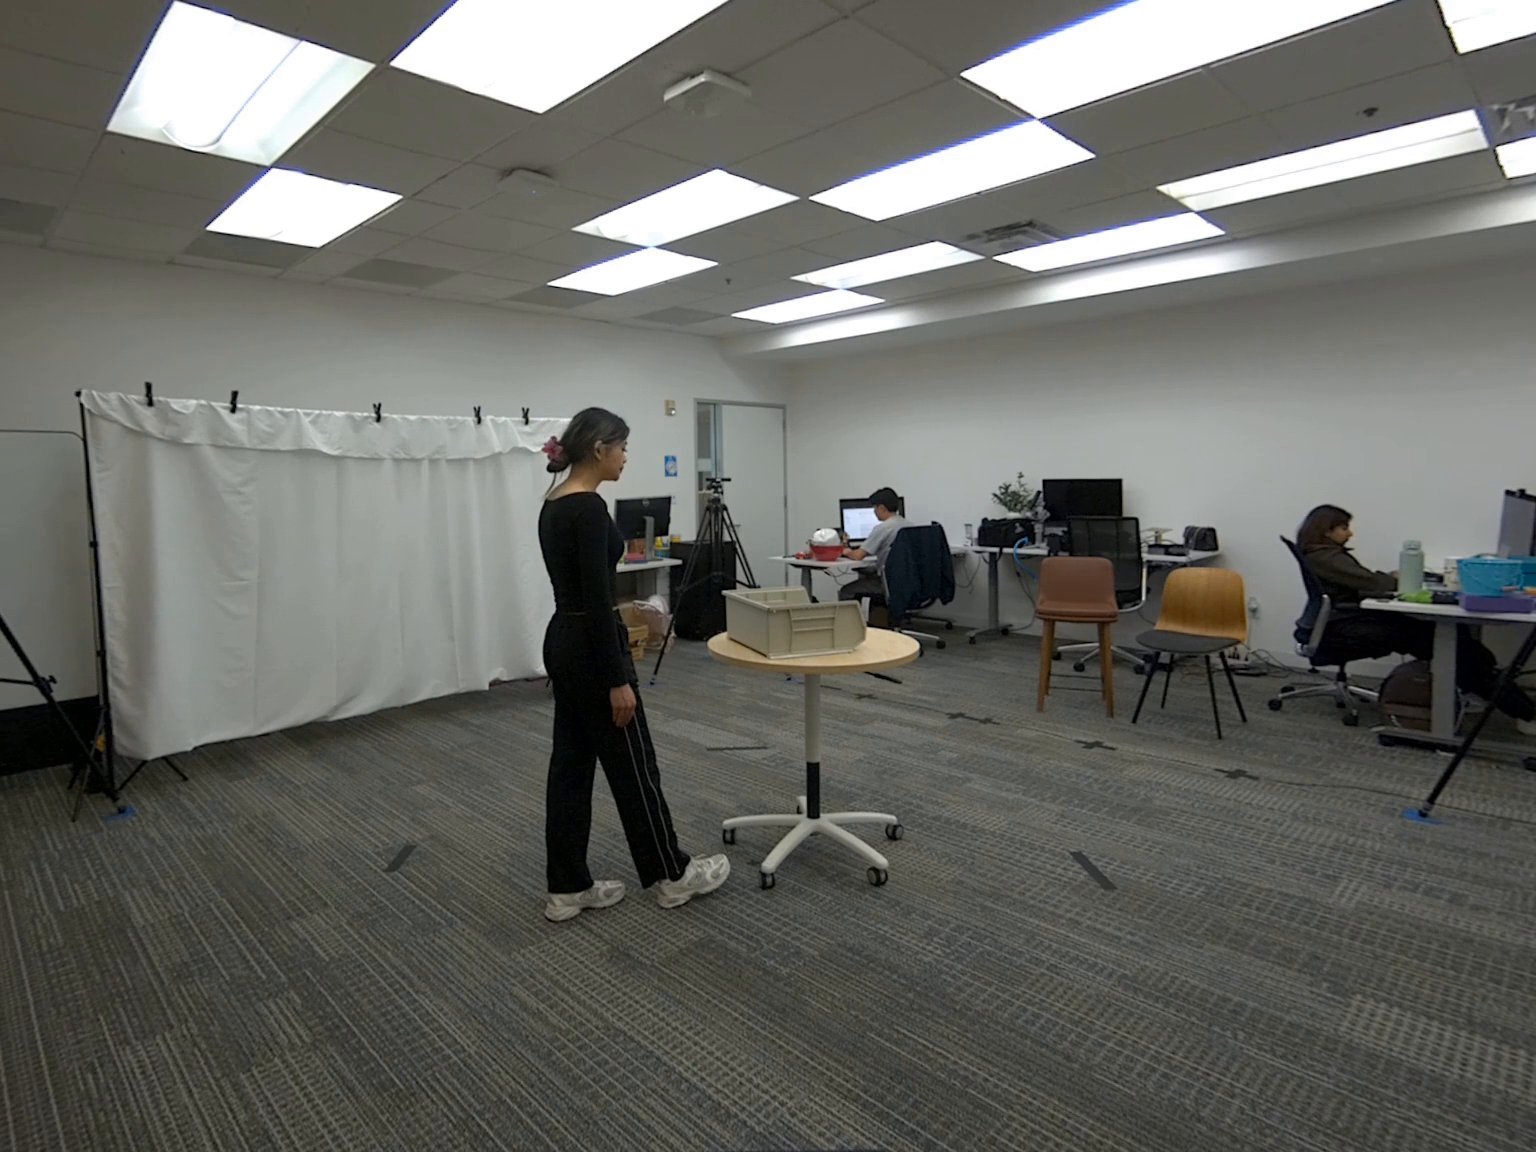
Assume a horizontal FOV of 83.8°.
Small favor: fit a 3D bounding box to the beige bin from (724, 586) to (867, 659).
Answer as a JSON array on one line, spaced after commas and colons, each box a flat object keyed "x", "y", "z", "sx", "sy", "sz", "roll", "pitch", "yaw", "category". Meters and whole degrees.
[{"x": 0.087, "y": 0.159, "z": 3.077, "sx": 0.370, "sy": 0.188, "sz": 0.432, "roll": -4, "pitch": 7, "yaw": -22, "category": "beige bin"}]
